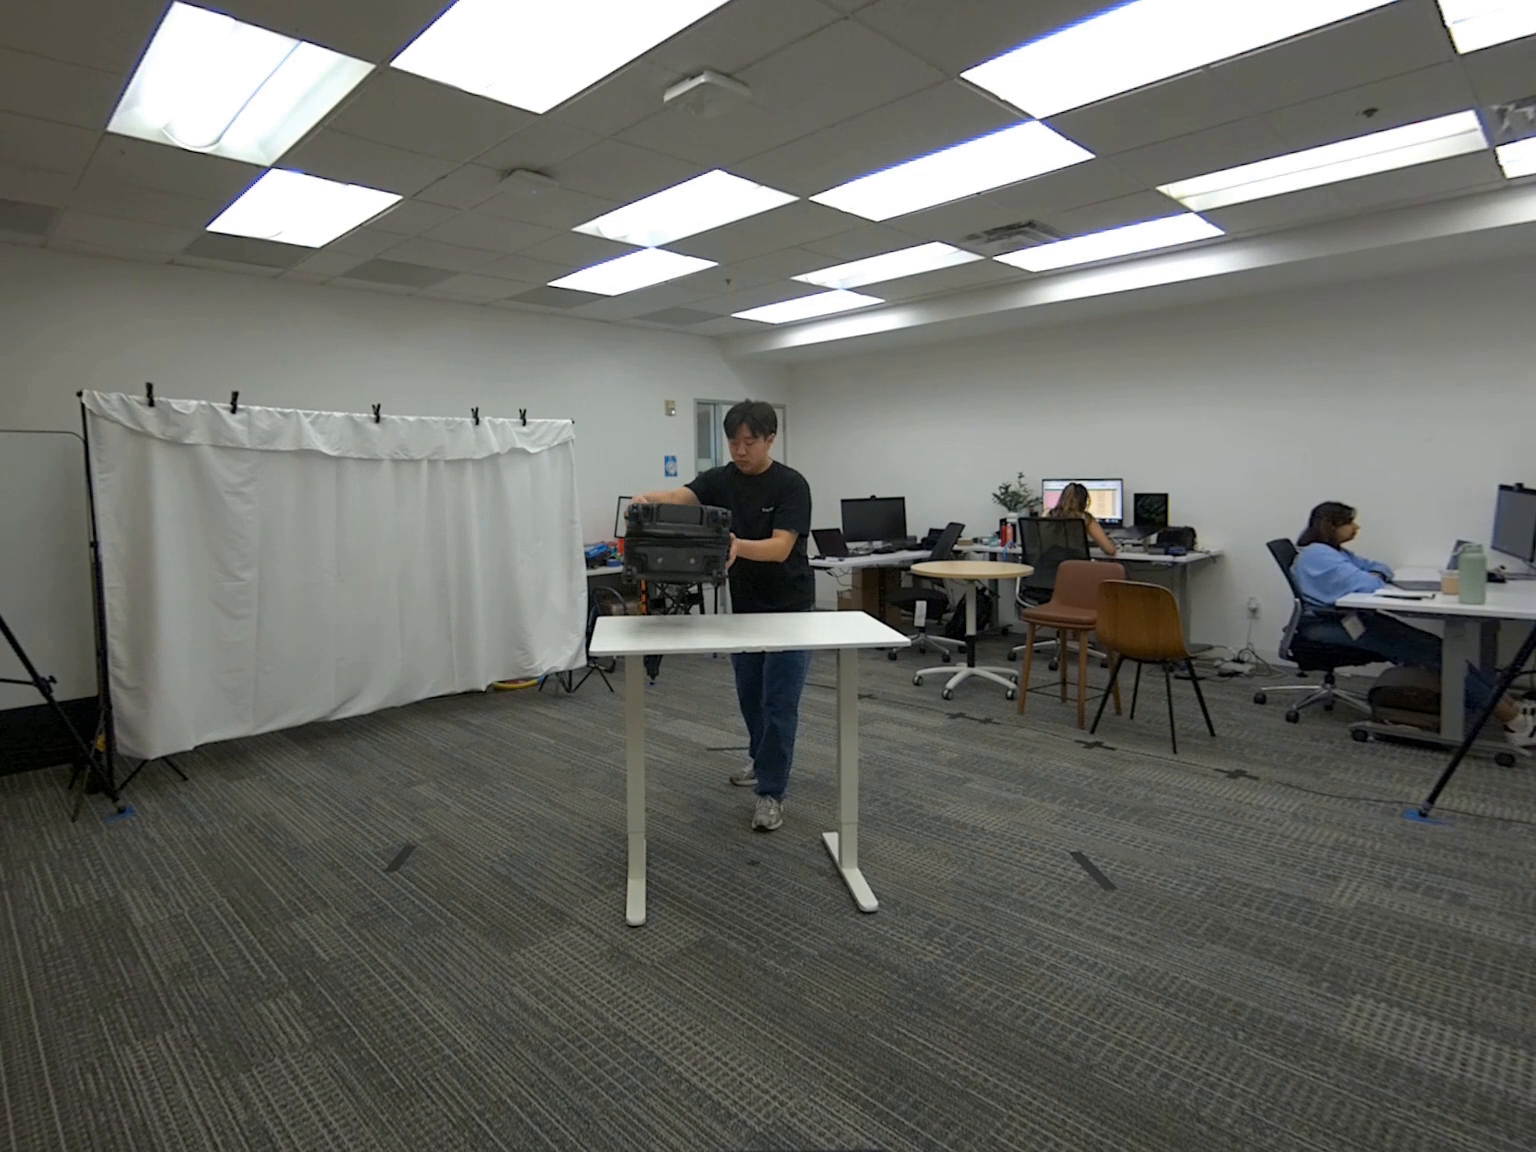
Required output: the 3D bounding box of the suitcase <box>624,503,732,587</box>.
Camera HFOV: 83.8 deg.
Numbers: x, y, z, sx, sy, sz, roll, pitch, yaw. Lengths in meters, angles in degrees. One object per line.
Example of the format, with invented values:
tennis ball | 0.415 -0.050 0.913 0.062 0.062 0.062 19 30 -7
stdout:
suitcase | -0.338 -0.103 3.233 0.383 0.257 0.979 5 0 -3
